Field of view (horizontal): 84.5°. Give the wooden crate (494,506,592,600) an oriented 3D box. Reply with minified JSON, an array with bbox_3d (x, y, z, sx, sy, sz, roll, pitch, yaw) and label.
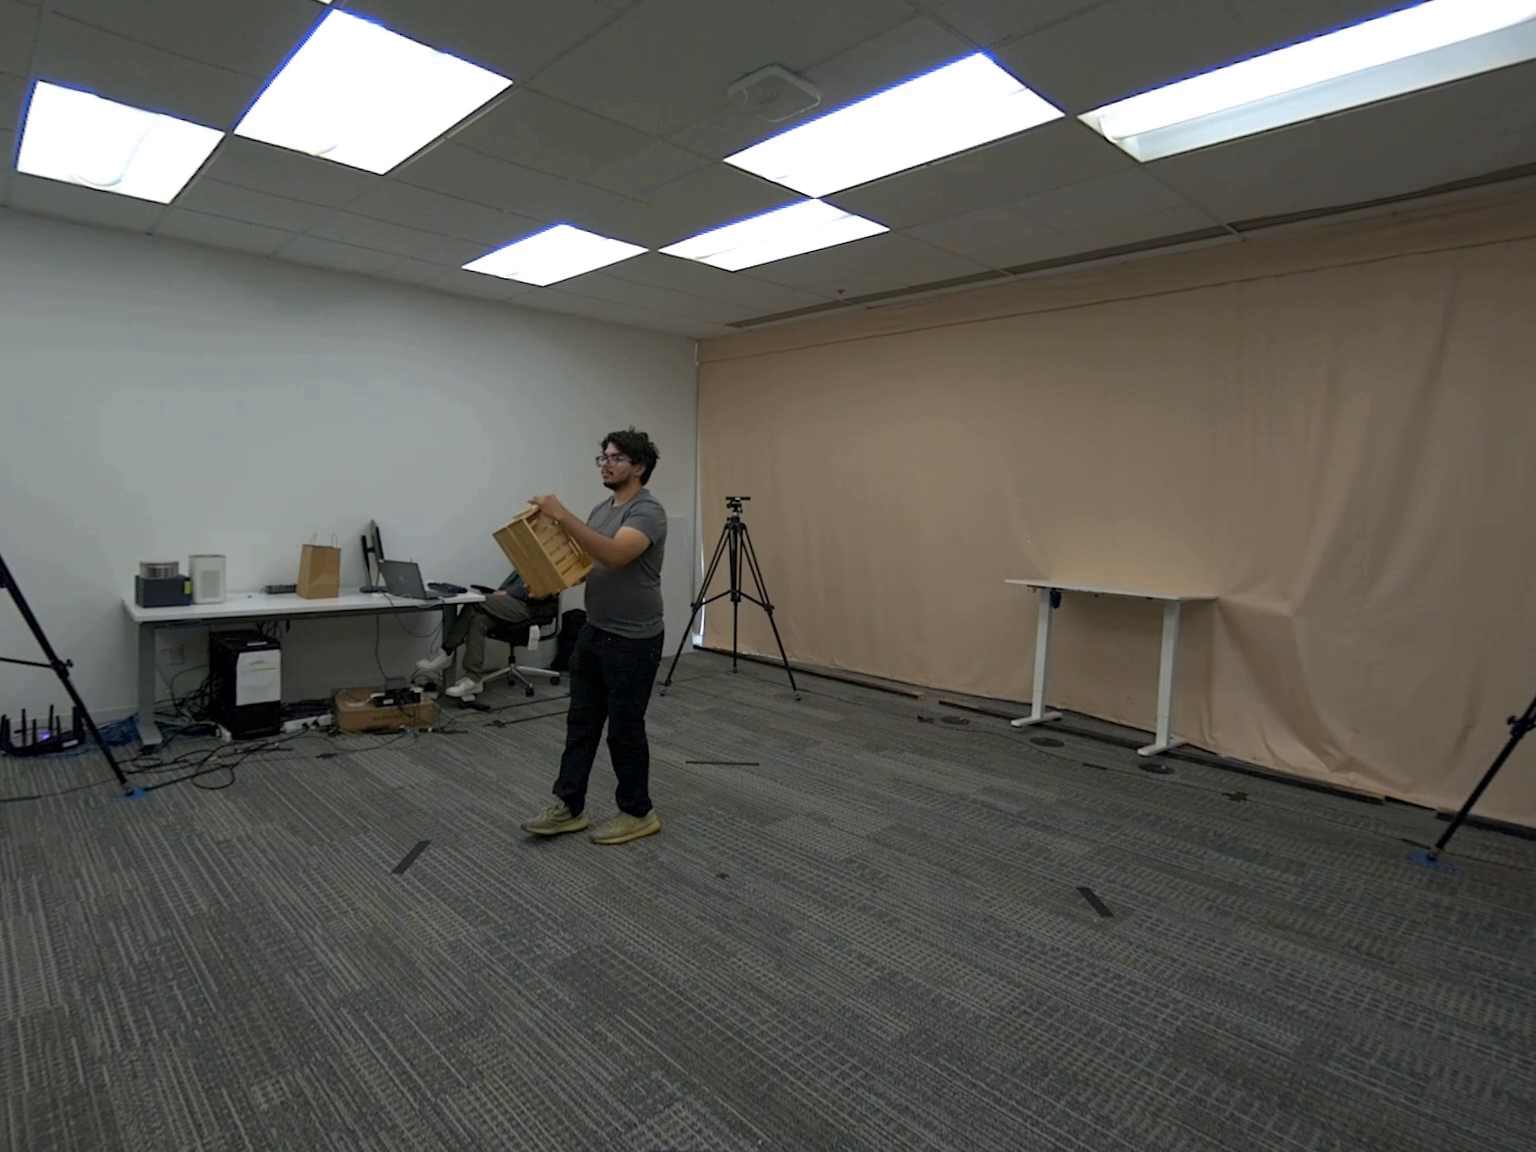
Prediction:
[{"bbox_3d":[-0.833,-0.118,3.190,0.277,0.320,0.302,-22,16,36],"label":"wooden crate"}]
